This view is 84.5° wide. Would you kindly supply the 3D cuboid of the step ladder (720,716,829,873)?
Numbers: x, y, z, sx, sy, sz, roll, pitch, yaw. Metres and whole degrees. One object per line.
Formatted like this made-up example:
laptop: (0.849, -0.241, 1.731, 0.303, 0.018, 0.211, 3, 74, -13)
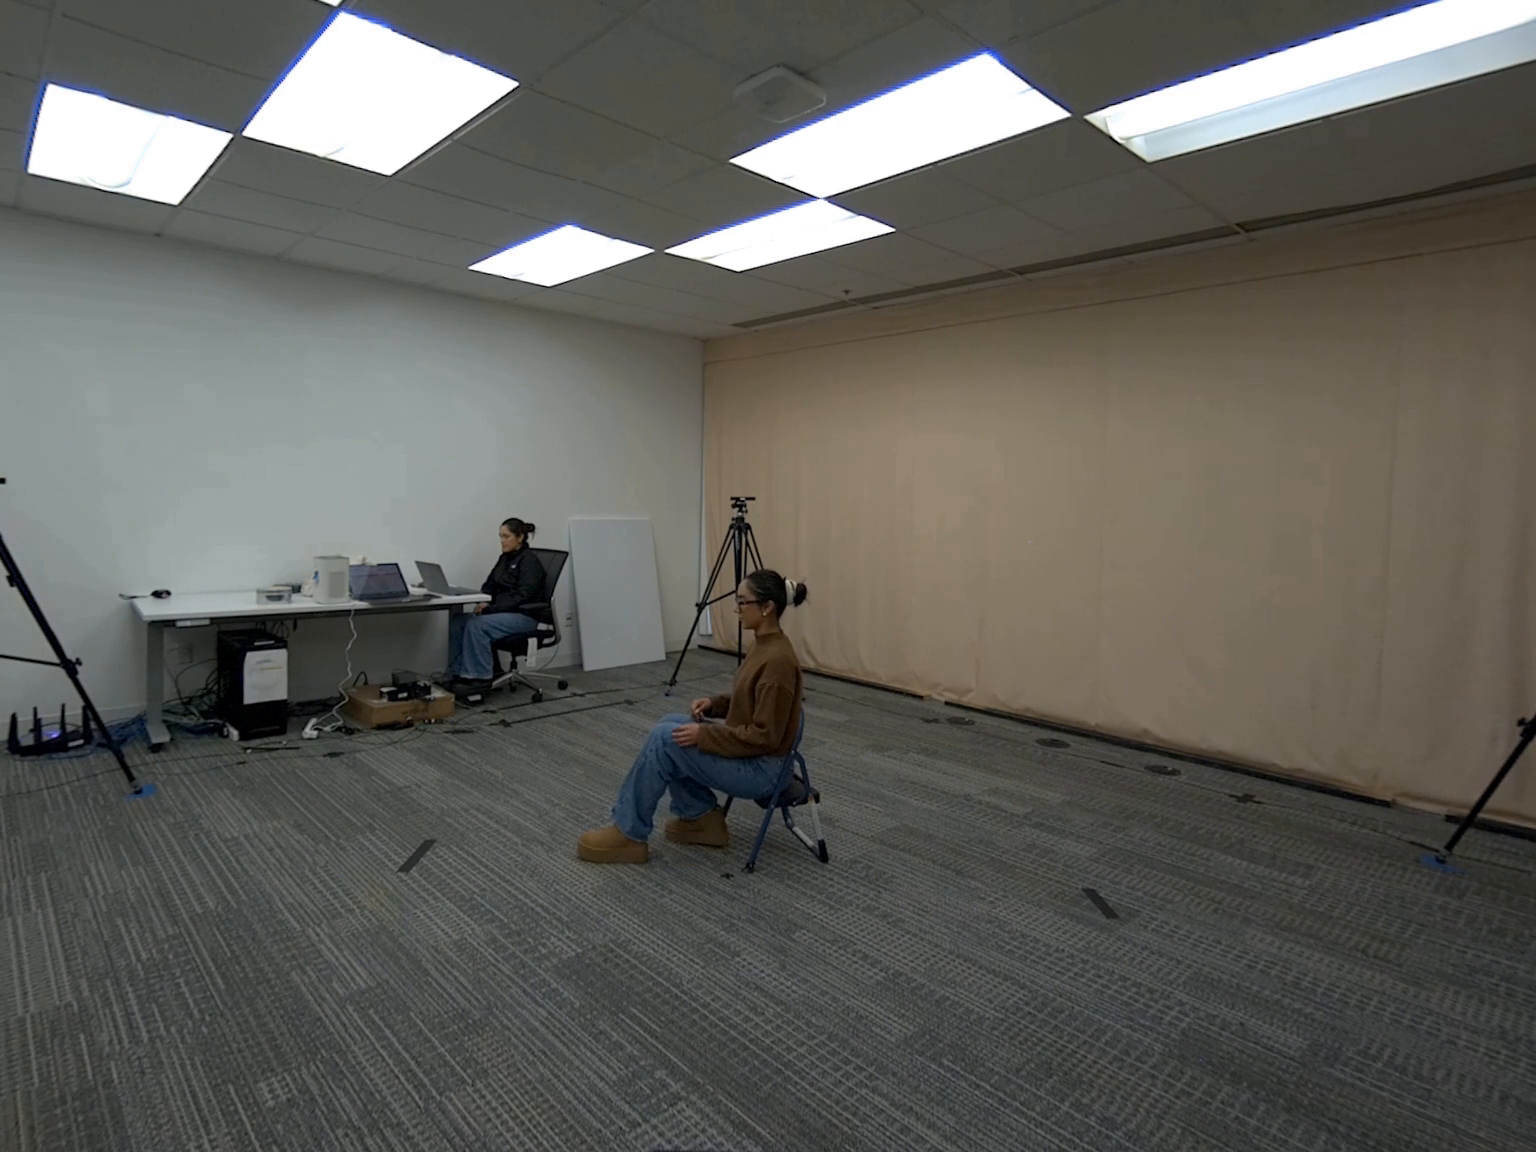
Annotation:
step ladder: (0.006, 0.791, 3.364, 0.344, 0.604, 0.438, 0, 4, -20)
